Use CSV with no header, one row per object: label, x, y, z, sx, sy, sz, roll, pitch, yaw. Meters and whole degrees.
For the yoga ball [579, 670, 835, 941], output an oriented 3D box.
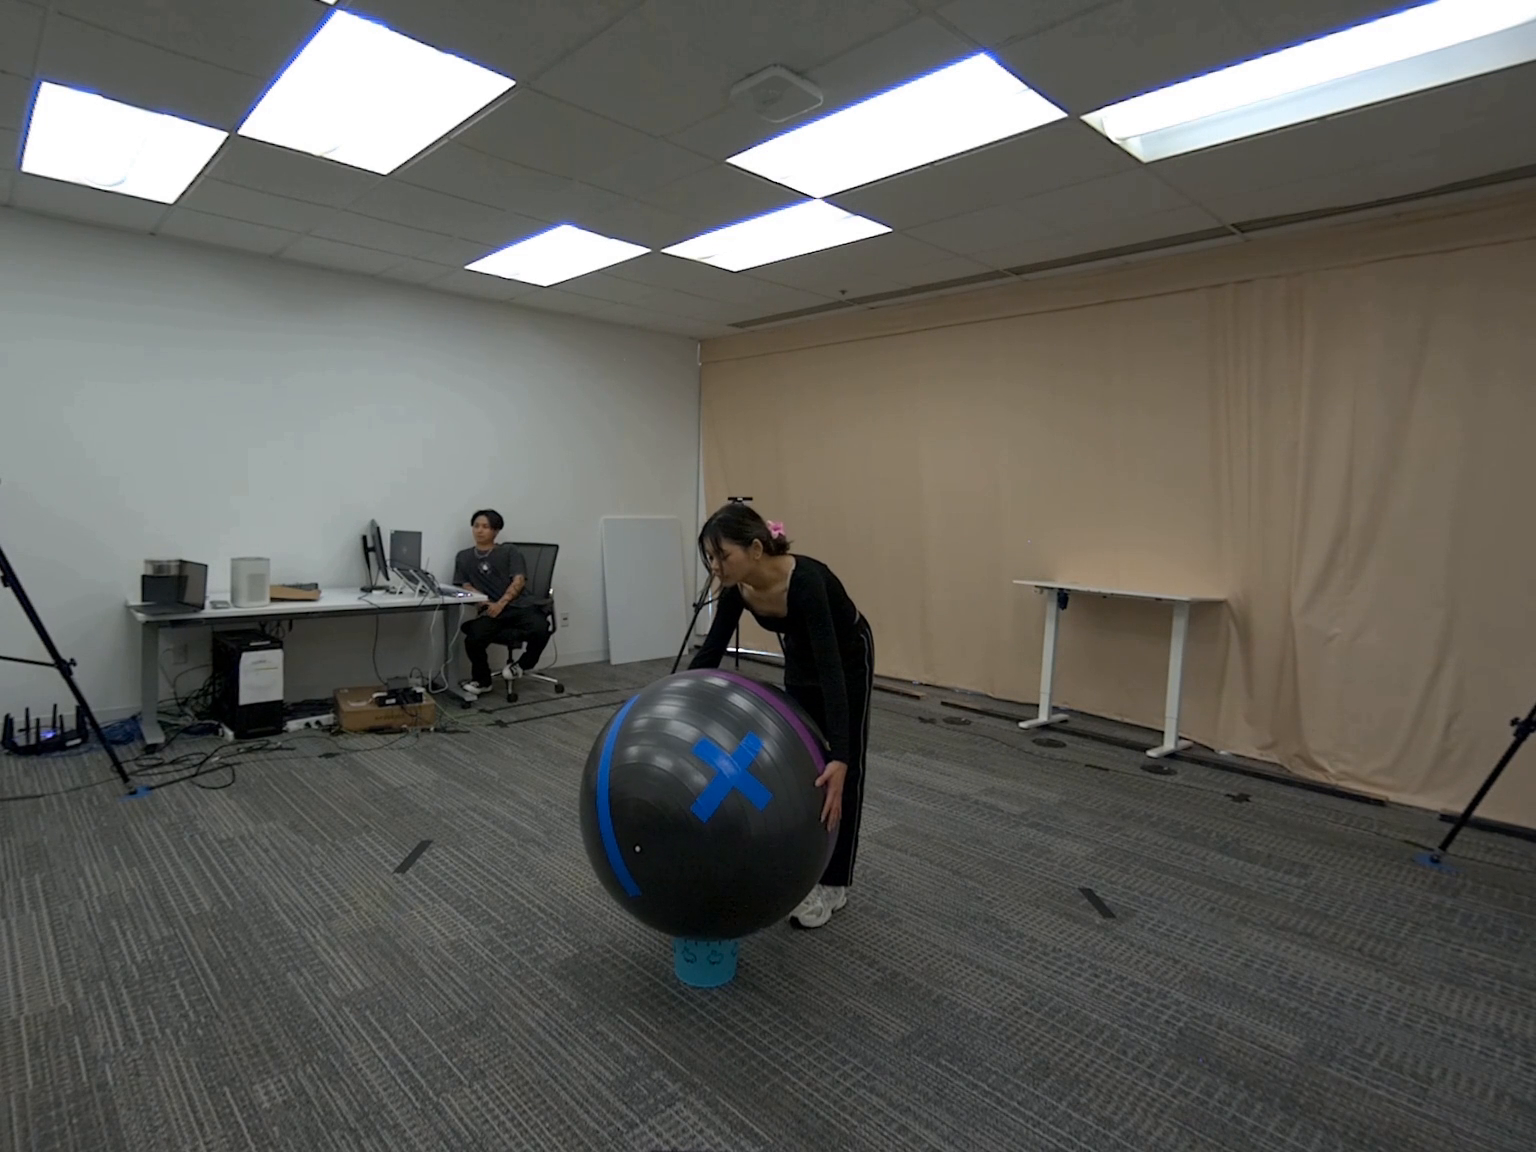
yoga ball,-0.176,0.660,2.460,0.757,0.756,0.761,1,4,-1
